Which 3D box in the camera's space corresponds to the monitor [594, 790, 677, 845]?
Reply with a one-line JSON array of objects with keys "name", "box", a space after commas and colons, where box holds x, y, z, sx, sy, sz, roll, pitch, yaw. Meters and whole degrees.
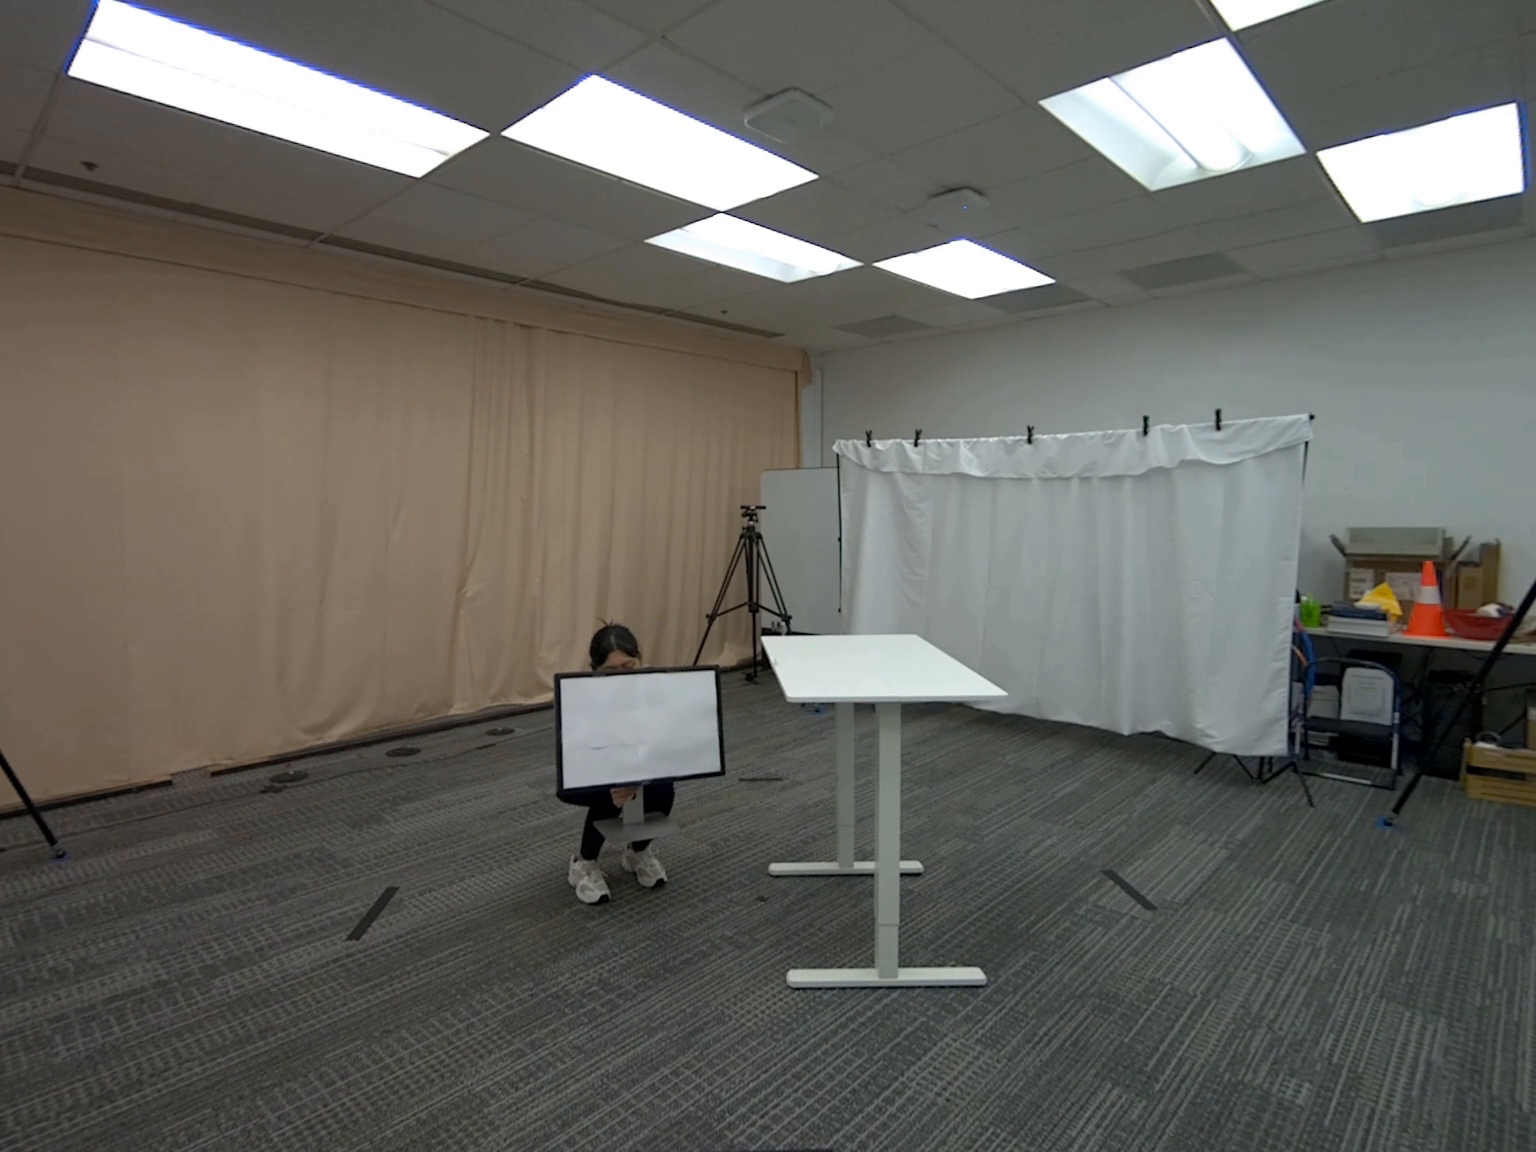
[{"name": "monitor", "box": [-0.431, 0.563, 2.717, 0.525, 0.521, 0.192, 0, 4, -28]}]
